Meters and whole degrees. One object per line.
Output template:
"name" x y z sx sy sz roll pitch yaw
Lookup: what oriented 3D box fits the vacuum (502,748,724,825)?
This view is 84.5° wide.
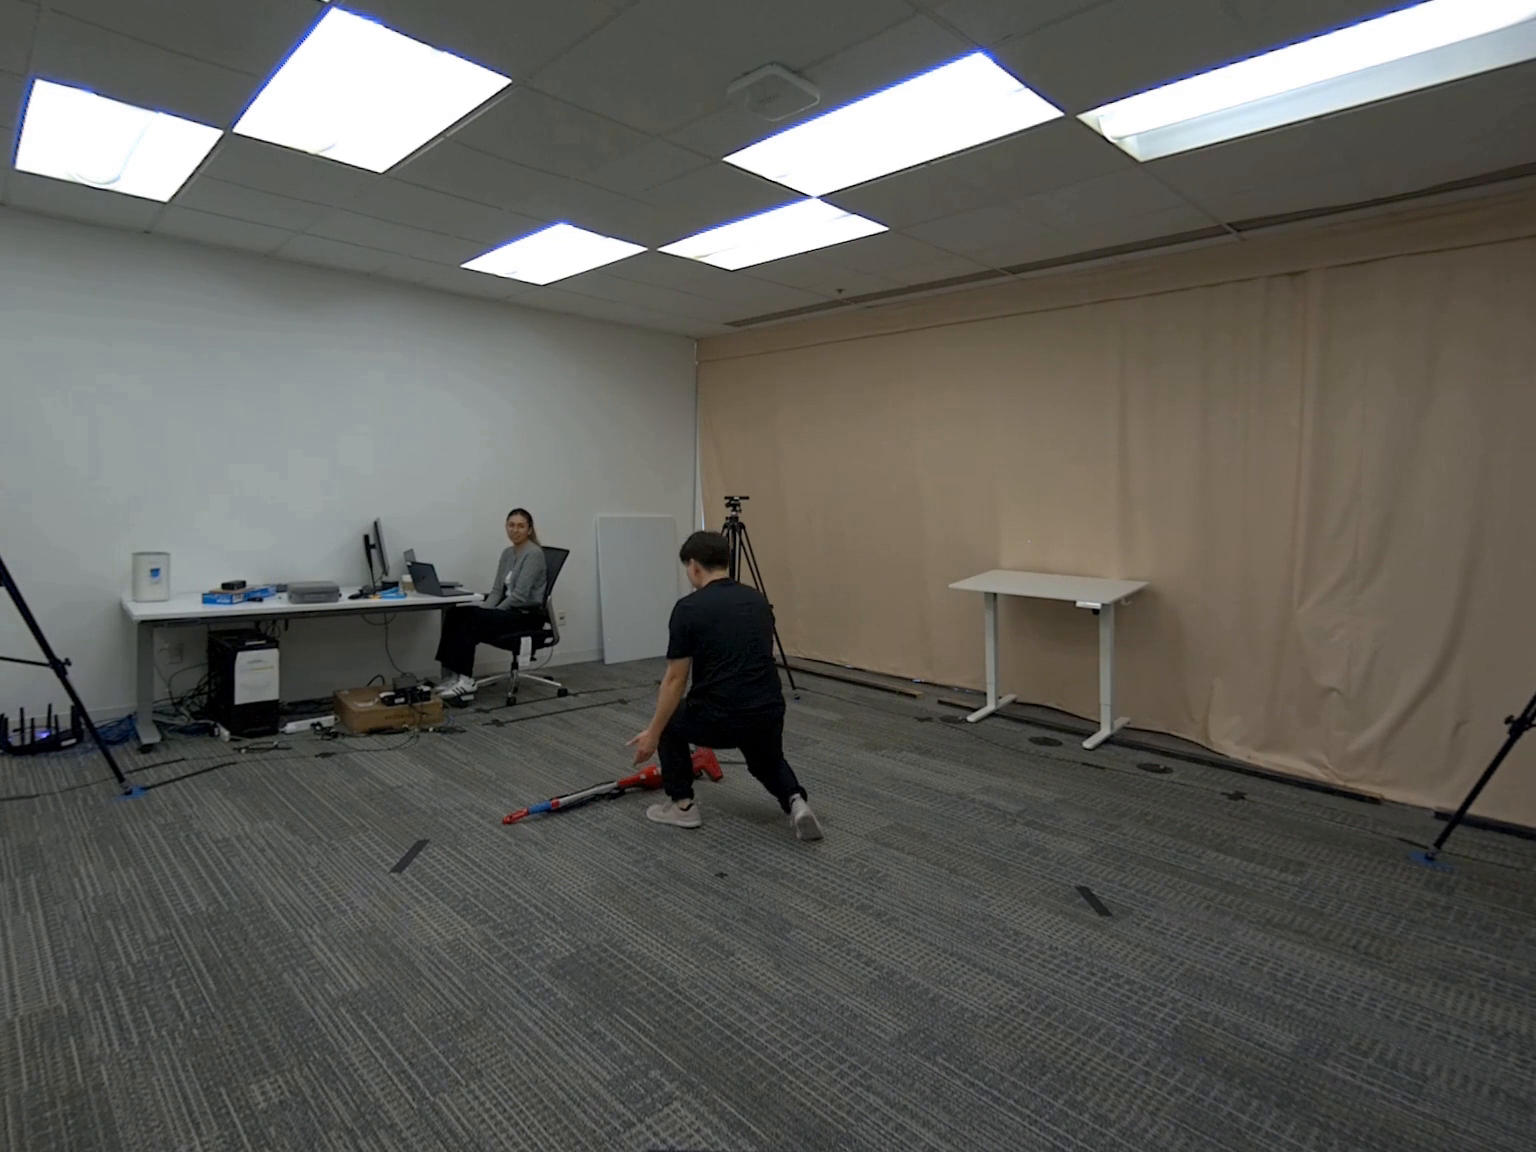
"vacuum" -0.719 0.974 3.875 1.028 0.258 0.144 -8 -29 -39
